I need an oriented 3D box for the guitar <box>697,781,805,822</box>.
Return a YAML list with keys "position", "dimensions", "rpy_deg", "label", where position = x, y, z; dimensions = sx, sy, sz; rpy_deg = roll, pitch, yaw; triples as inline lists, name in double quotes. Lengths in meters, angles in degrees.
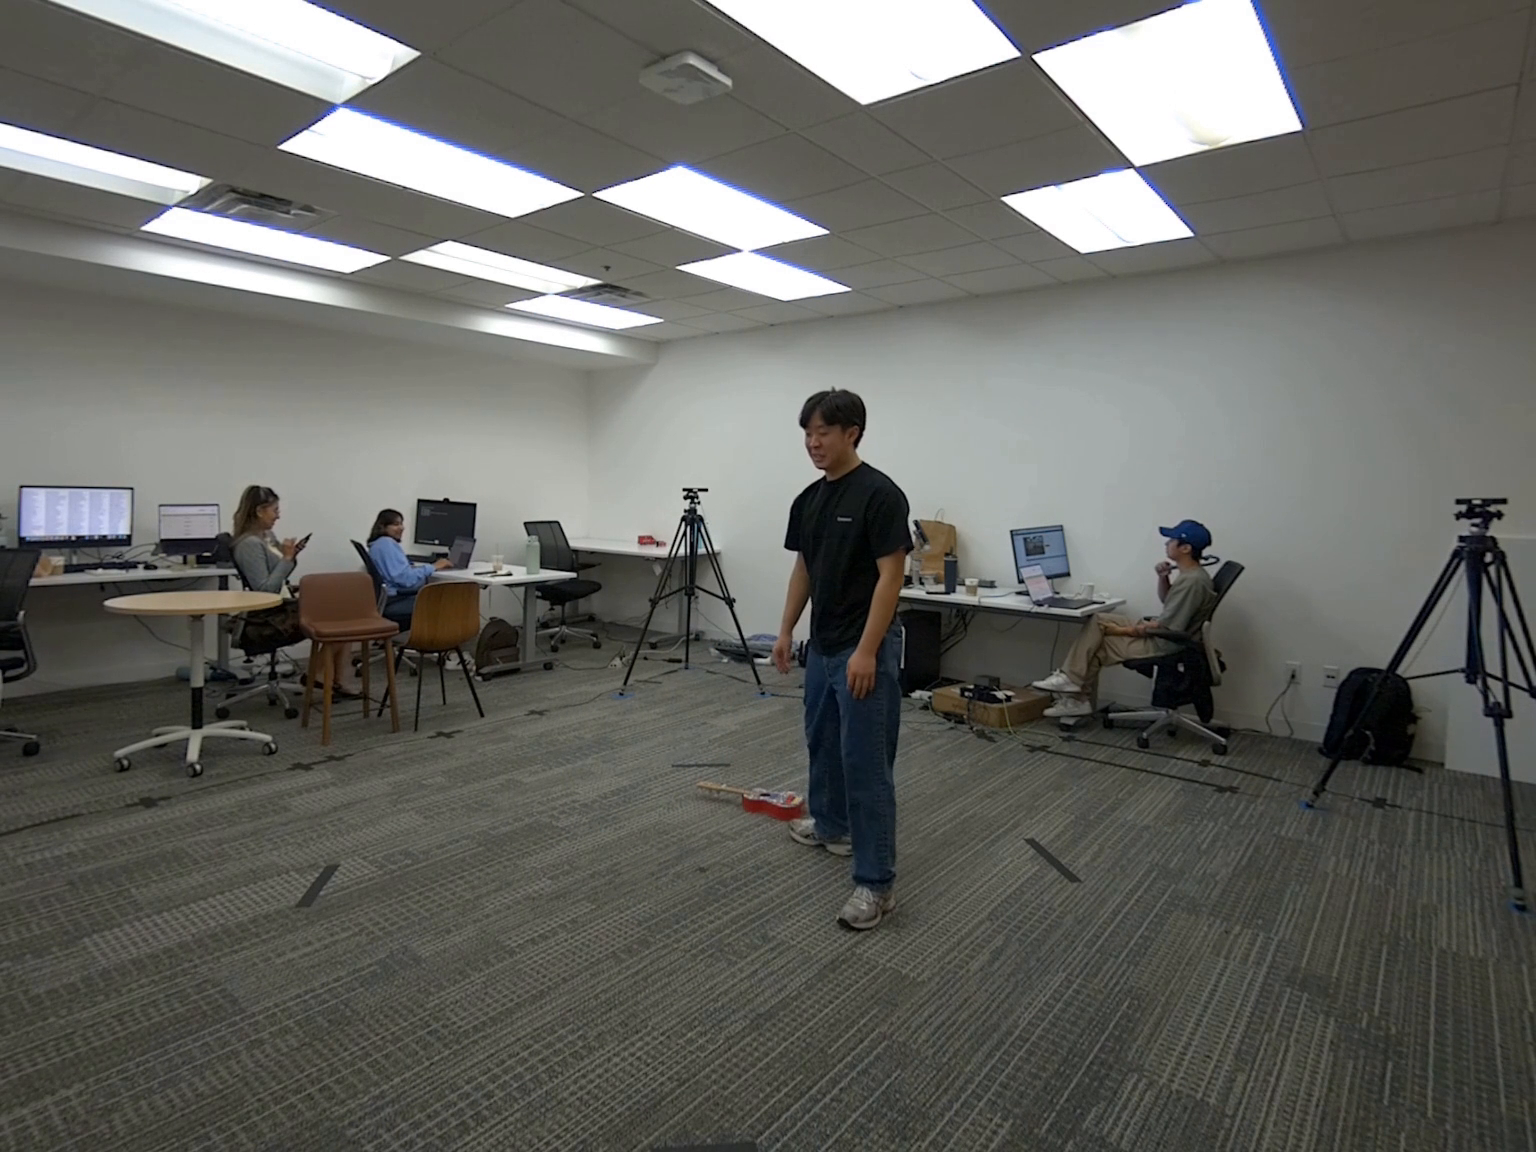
- position: [-0.080, 0.973, 3.776]
  dimensions: [0.513, 0.070, 0.188]
  rpy_deg: [5, 6, 31]
  label: "guitar"
